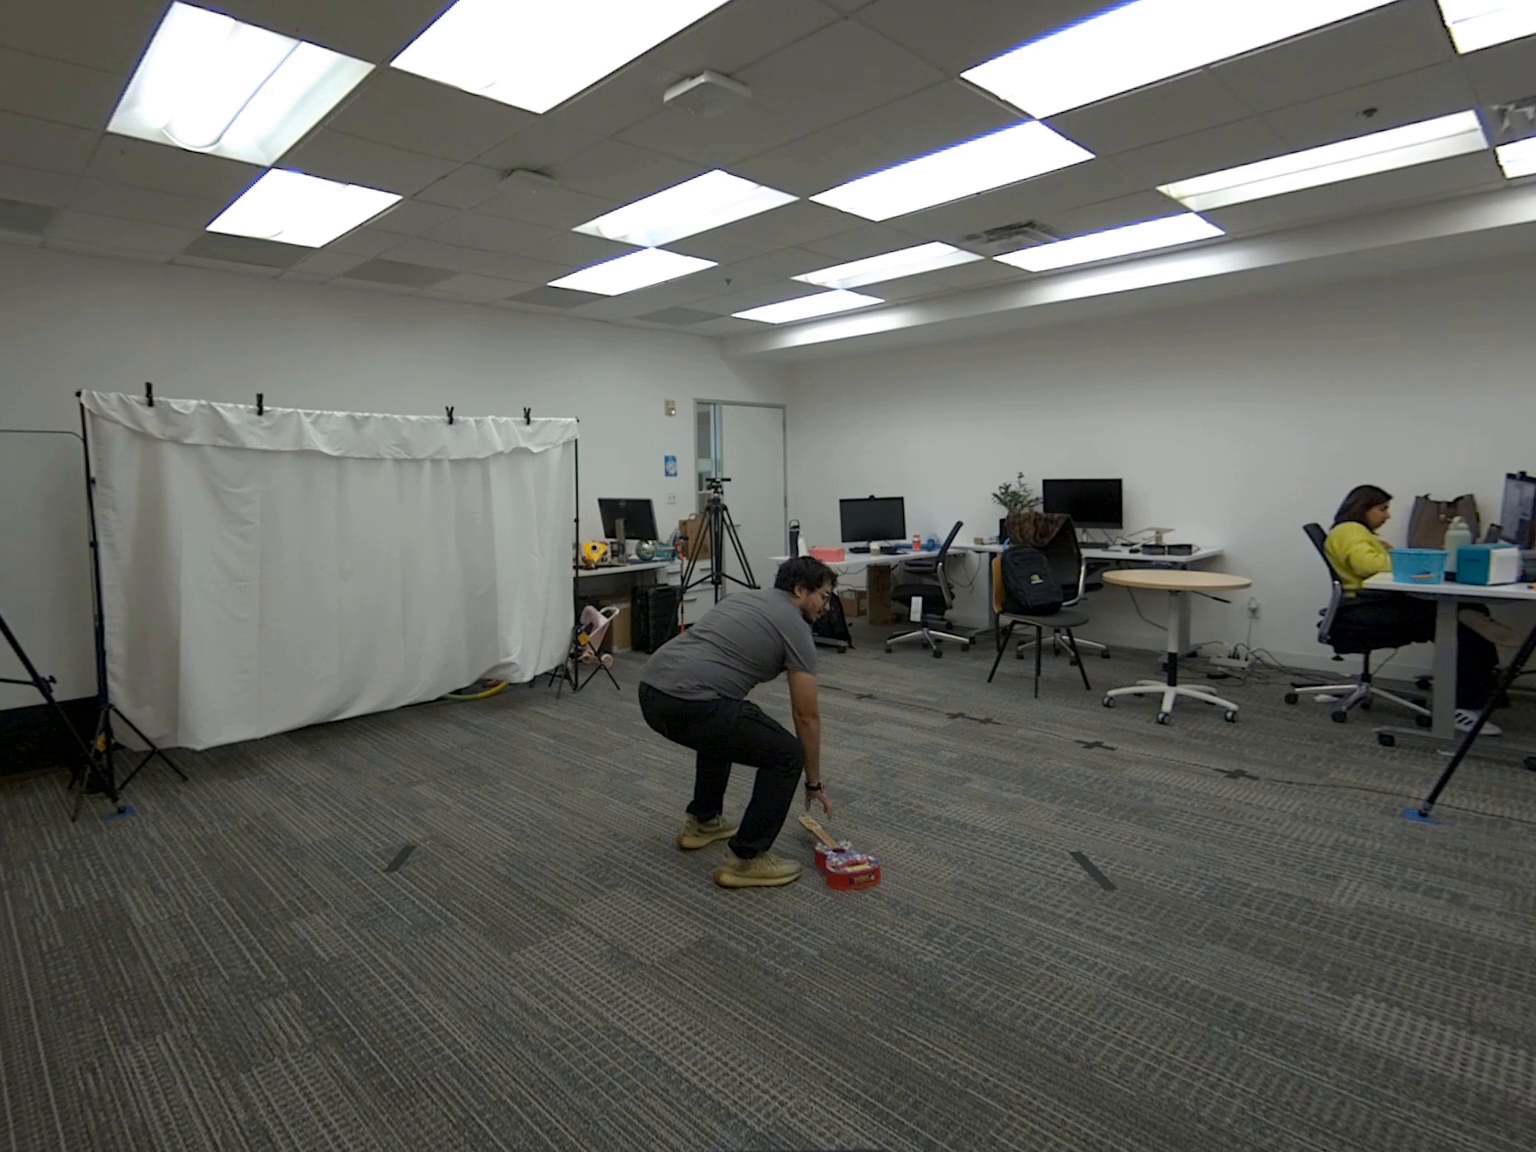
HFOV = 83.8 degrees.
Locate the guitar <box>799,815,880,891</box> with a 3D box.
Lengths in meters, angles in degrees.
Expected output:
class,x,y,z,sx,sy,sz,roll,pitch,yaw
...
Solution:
class,x,y,z,sx,sy,sz,roll,pitch,yaw
guitar,0.254,0.998,3.136,0.191,0.070,0.505,-2,6,-12
